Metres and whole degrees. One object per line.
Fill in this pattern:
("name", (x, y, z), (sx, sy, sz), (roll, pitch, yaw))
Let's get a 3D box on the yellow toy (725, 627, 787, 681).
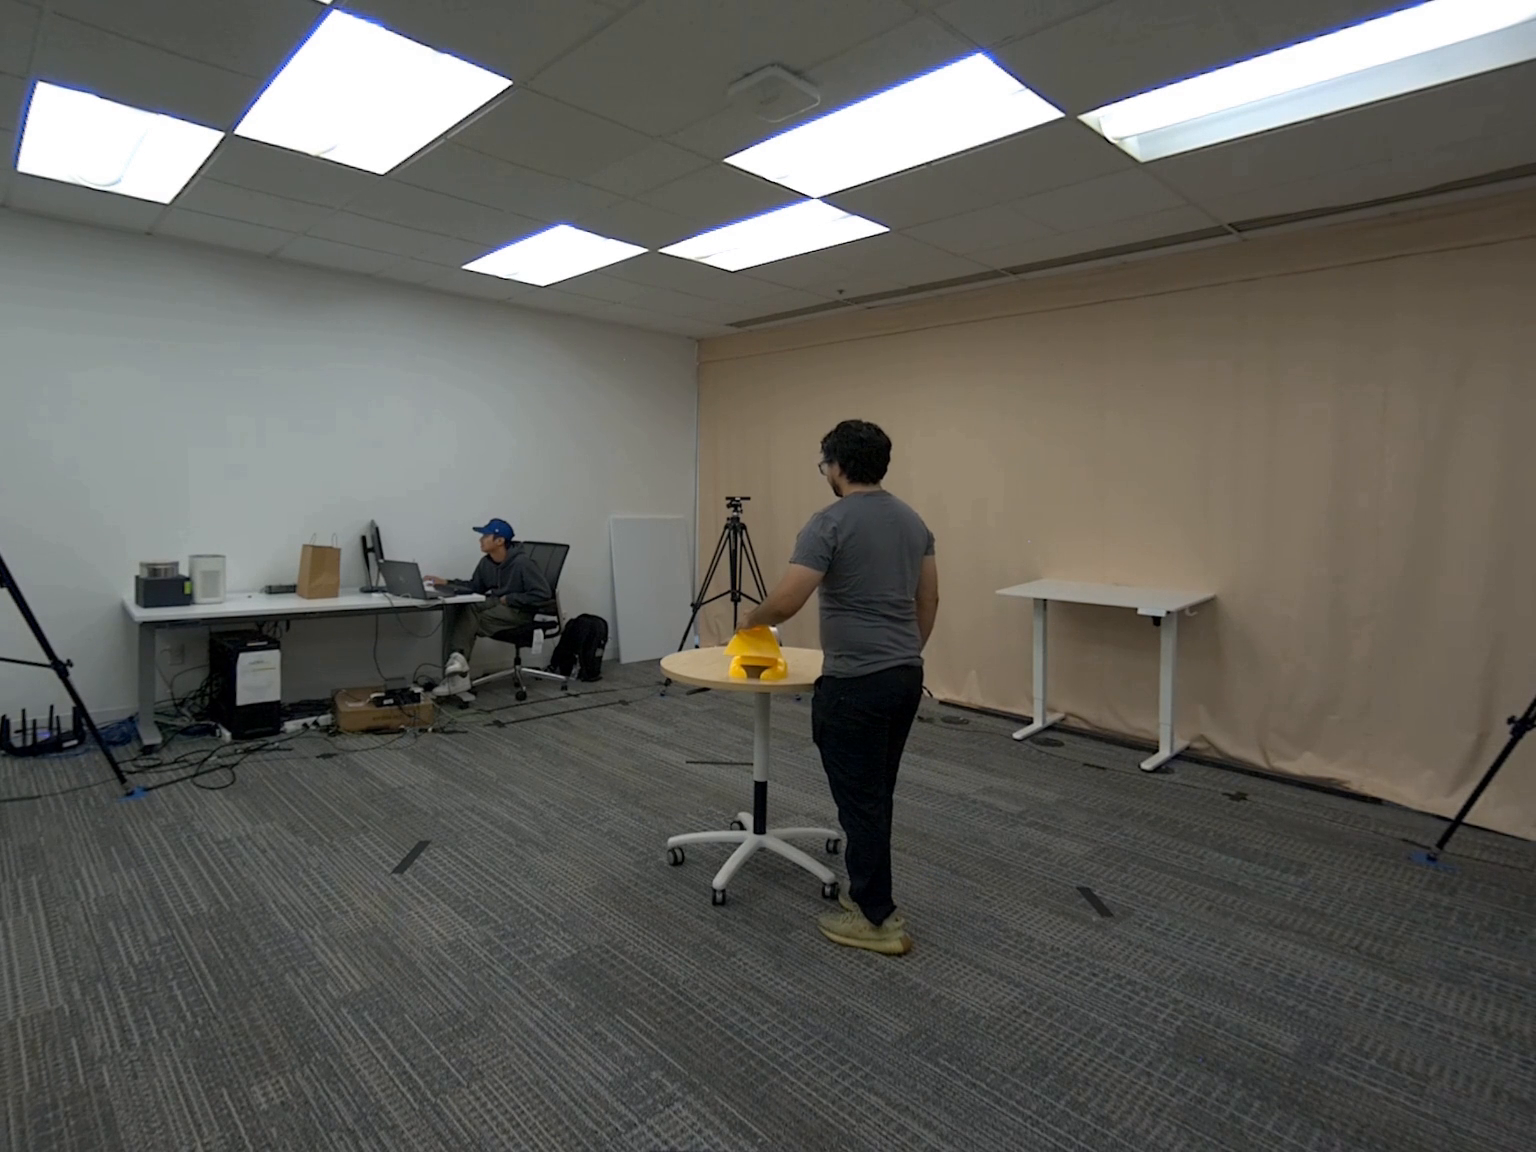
("yellow toy", (-0.036, 0.227, 2.903), (0.207, 0.230, 0.191), (1, 4, 14))
